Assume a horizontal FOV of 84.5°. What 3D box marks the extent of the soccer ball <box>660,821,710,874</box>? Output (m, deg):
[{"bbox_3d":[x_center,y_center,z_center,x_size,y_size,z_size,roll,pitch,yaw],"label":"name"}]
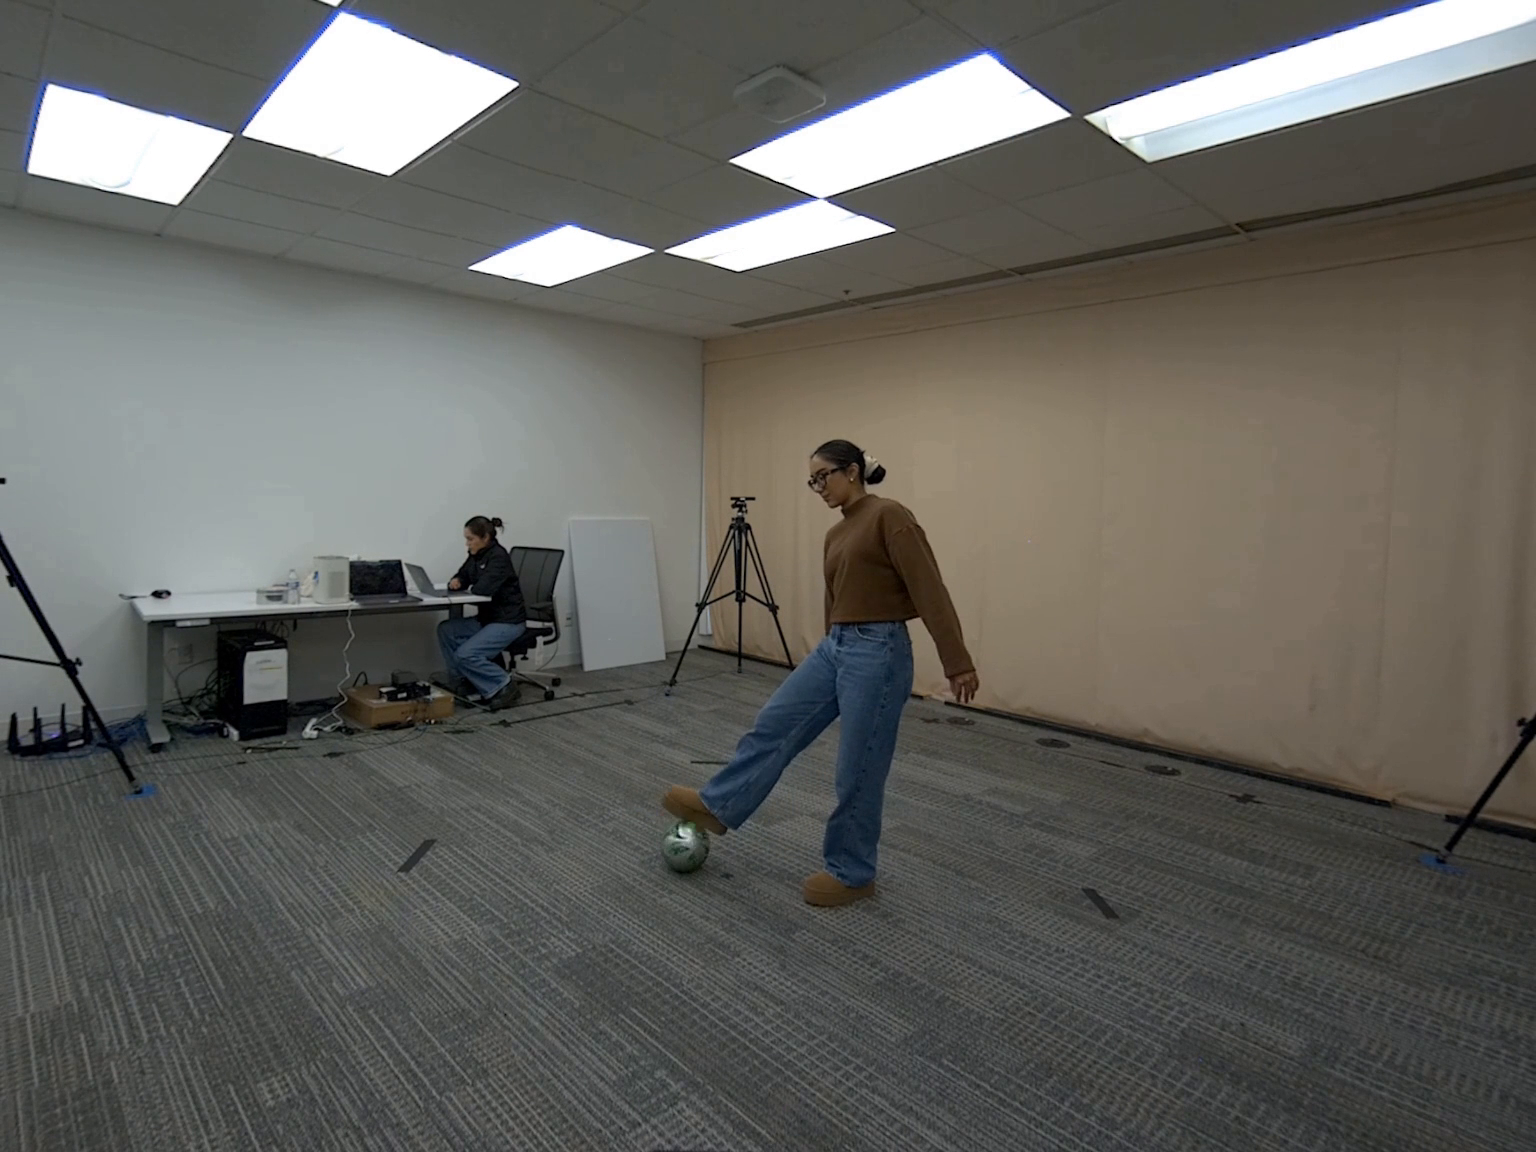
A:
[{"bbox_3d":[-0.307,1.004,3.145,0.187,0.187,0.188,1,4,-1],"label":"soccer ball"}]
